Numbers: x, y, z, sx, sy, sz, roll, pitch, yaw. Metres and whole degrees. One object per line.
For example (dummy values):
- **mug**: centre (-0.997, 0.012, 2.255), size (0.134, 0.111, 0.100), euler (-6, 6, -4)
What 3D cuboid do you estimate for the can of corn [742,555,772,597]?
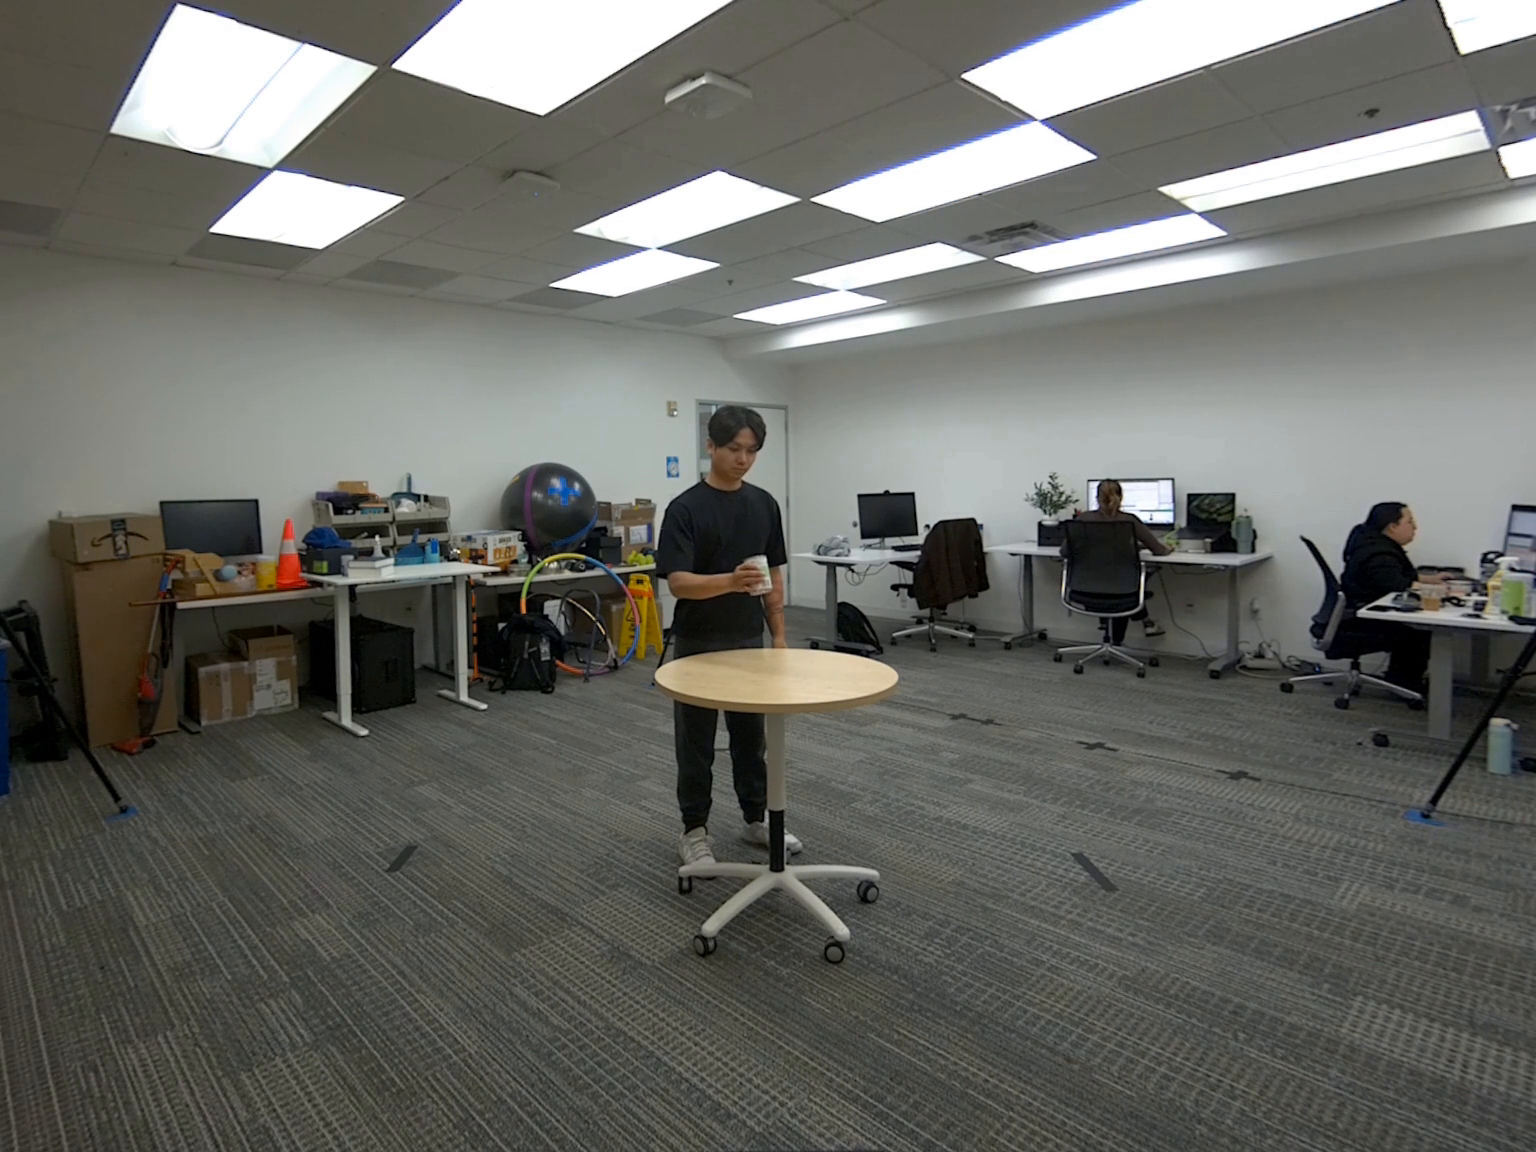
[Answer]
- **can of corn**: centre (-0.035, 0.001, 2.686), size (0.074, 0.112, 0.074), euler (-10, -6, -2)
